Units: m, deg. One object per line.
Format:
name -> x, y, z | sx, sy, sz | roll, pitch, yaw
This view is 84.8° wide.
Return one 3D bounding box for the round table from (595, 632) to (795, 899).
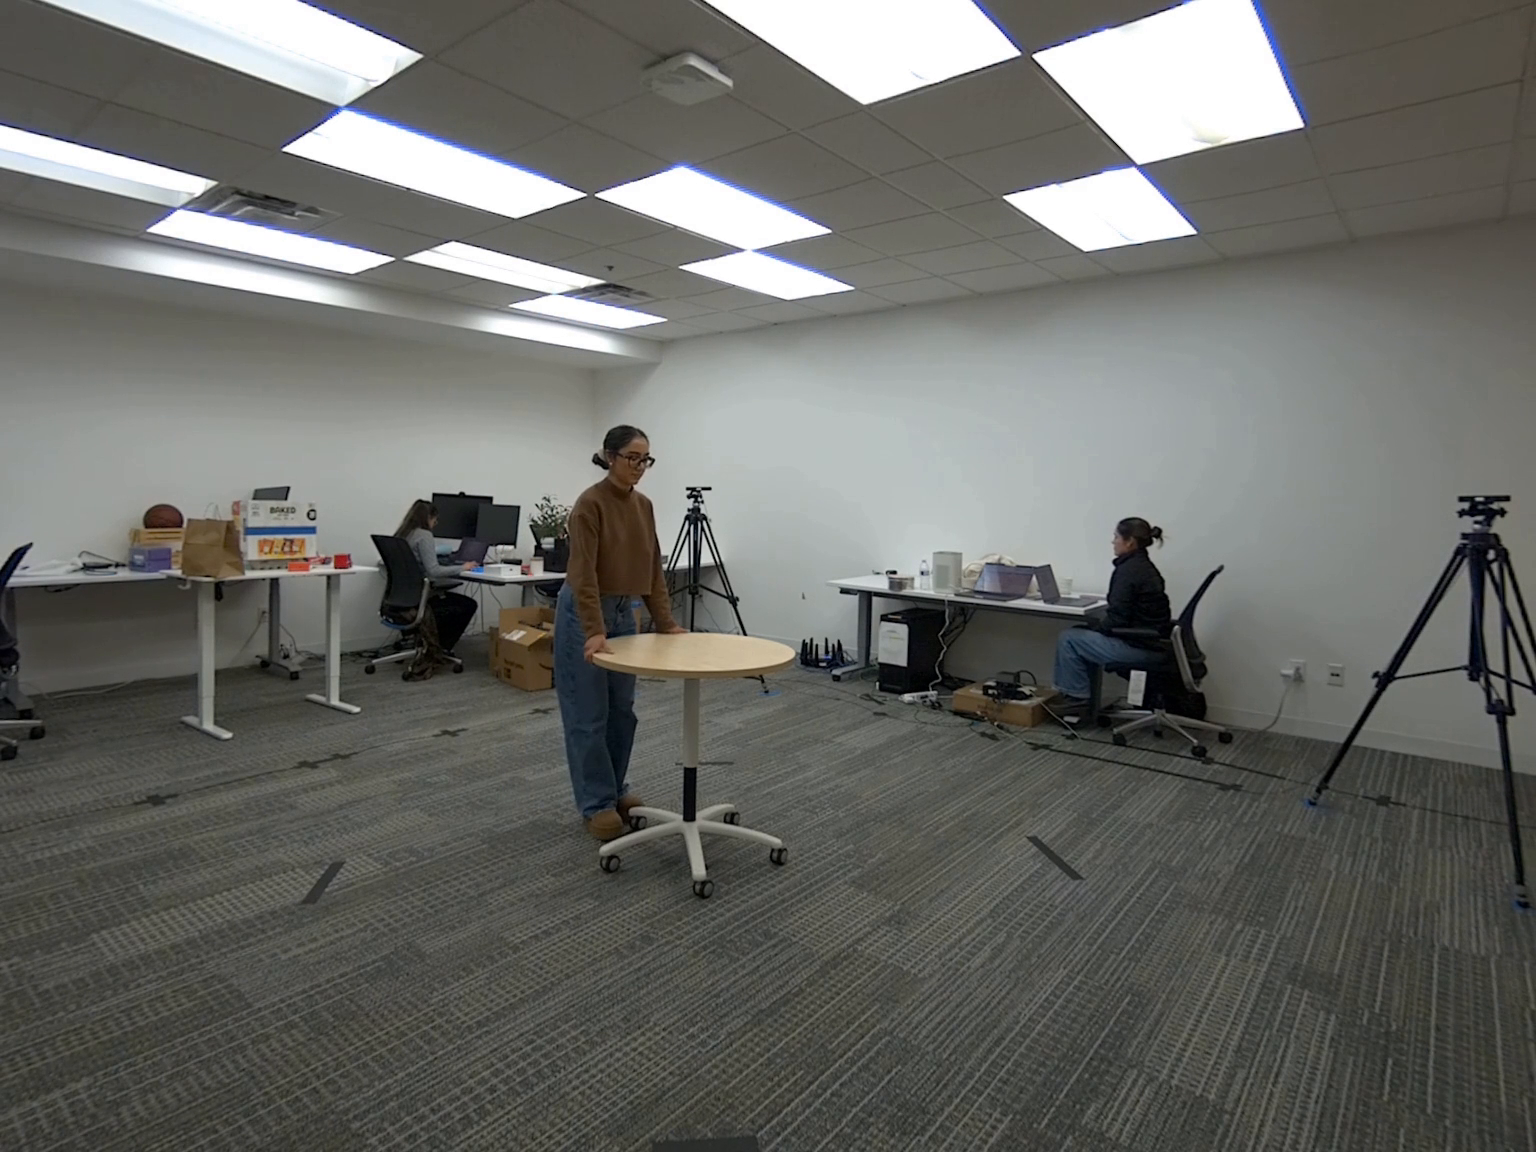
round table -> -0.300, 0.666, 3.183 | 0.763, 0.792, 0.767 | 1, 4, -2
